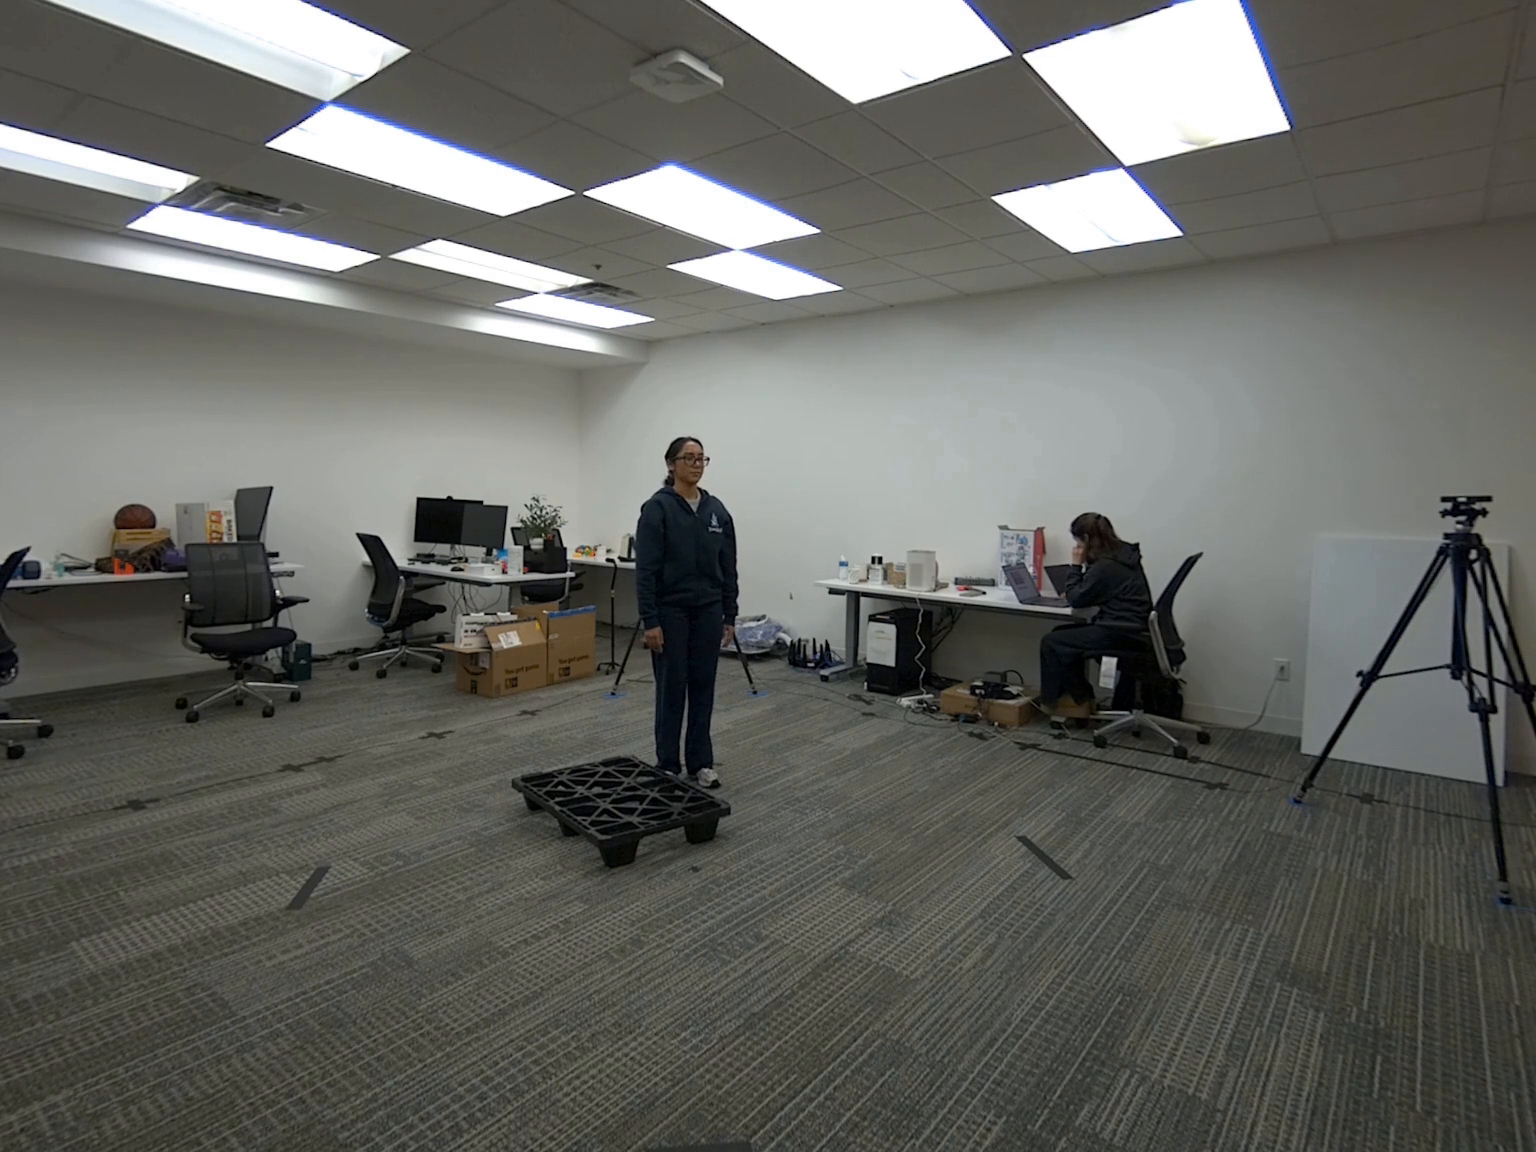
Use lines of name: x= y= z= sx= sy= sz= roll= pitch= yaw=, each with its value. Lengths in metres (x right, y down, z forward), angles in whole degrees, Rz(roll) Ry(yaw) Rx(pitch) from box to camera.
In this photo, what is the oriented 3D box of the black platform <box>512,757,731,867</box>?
black platform: x=-0.638 y=0.952 z=3.525 sx=0.587 sy=0.143 sz=0.833 roll=-3 pitch=7 yaw=-38
